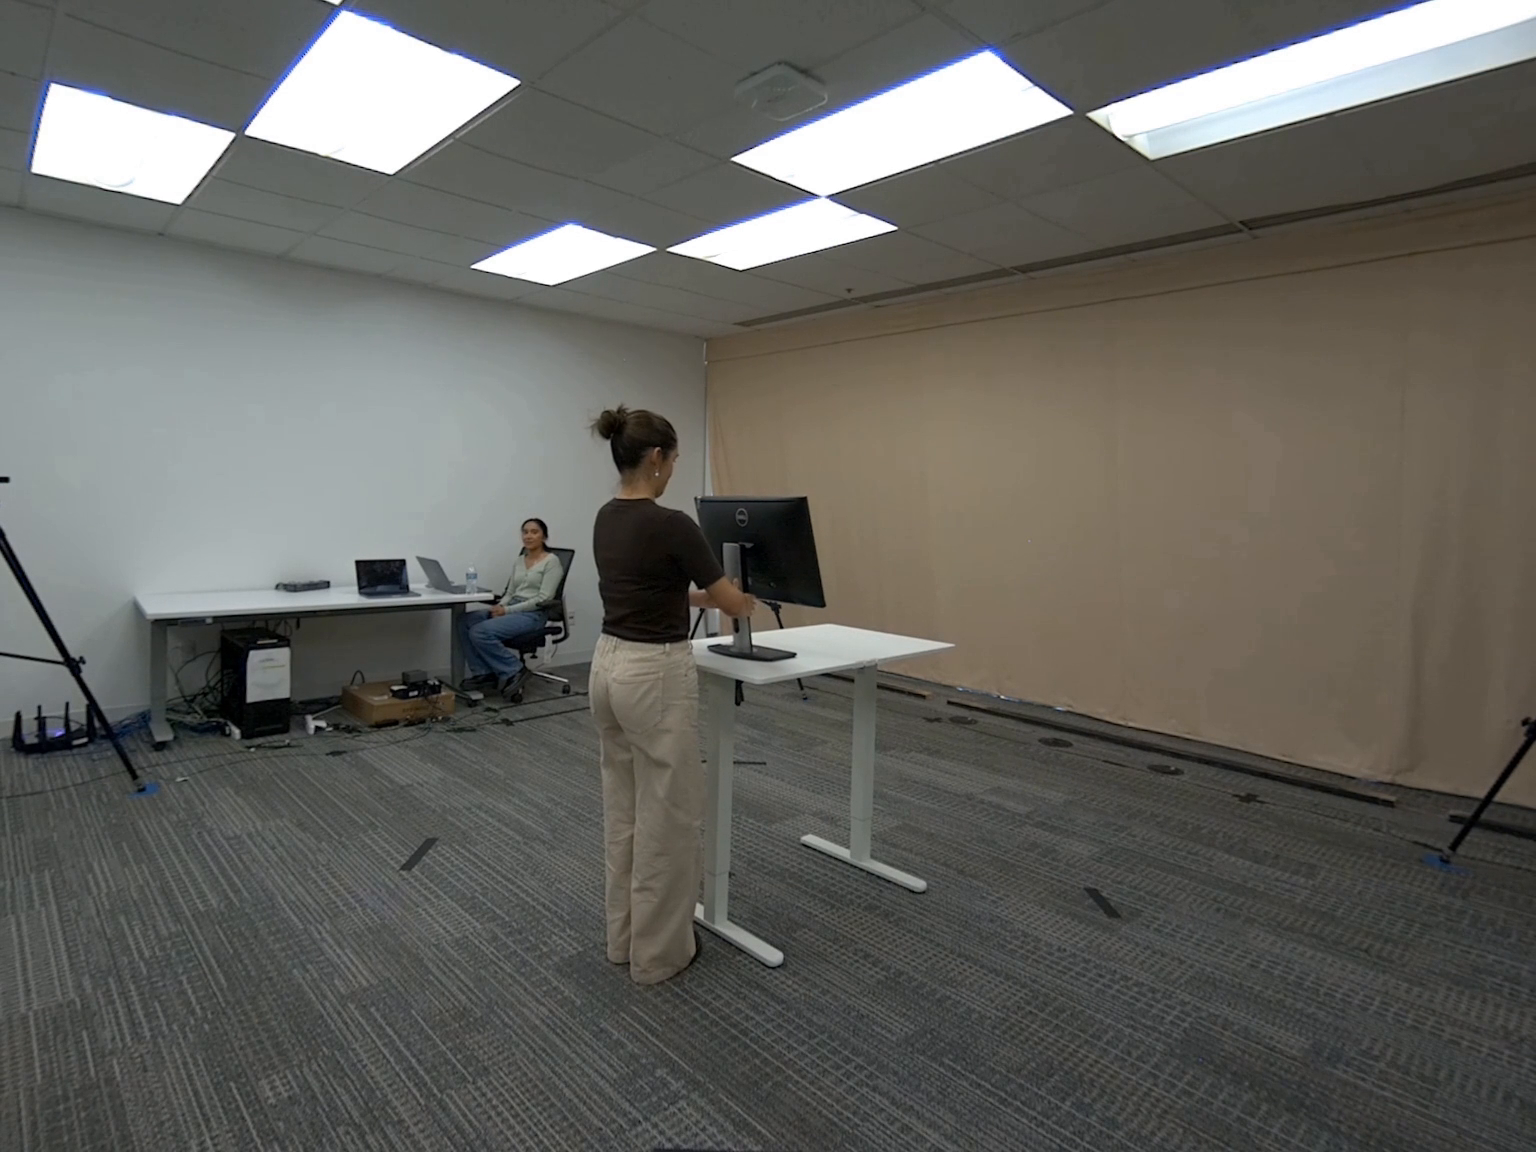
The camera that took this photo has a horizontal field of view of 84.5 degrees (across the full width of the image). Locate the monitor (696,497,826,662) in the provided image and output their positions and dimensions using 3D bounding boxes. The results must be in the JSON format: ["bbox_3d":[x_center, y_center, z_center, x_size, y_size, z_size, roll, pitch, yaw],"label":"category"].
[{"bbox_3d":[-0.063,0.004,2.716,0.183,0.521,0.553,-3,5,-43],"label":"monitor"}]
